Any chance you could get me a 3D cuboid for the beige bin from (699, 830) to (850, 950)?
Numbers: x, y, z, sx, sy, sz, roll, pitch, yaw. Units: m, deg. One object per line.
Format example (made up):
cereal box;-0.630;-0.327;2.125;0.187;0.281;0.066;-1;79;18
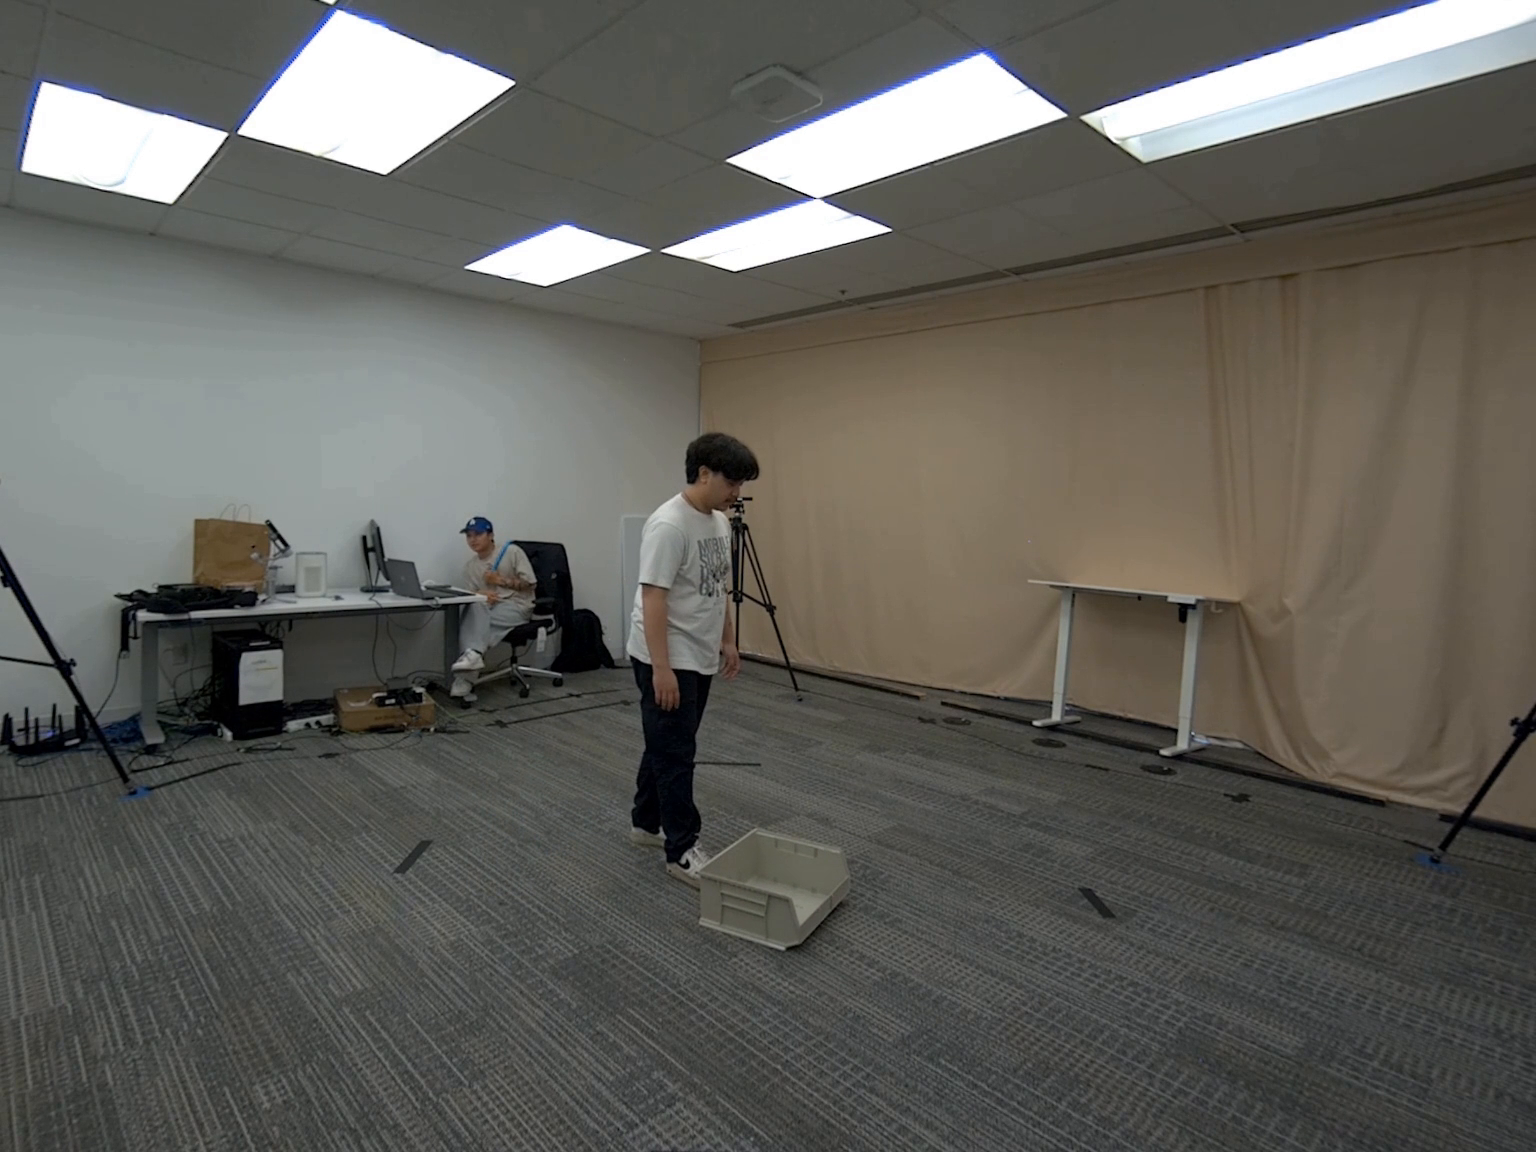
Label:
beige bin;0.018;1.046;2.832;0.385;0.188;0.415;3;5;28
